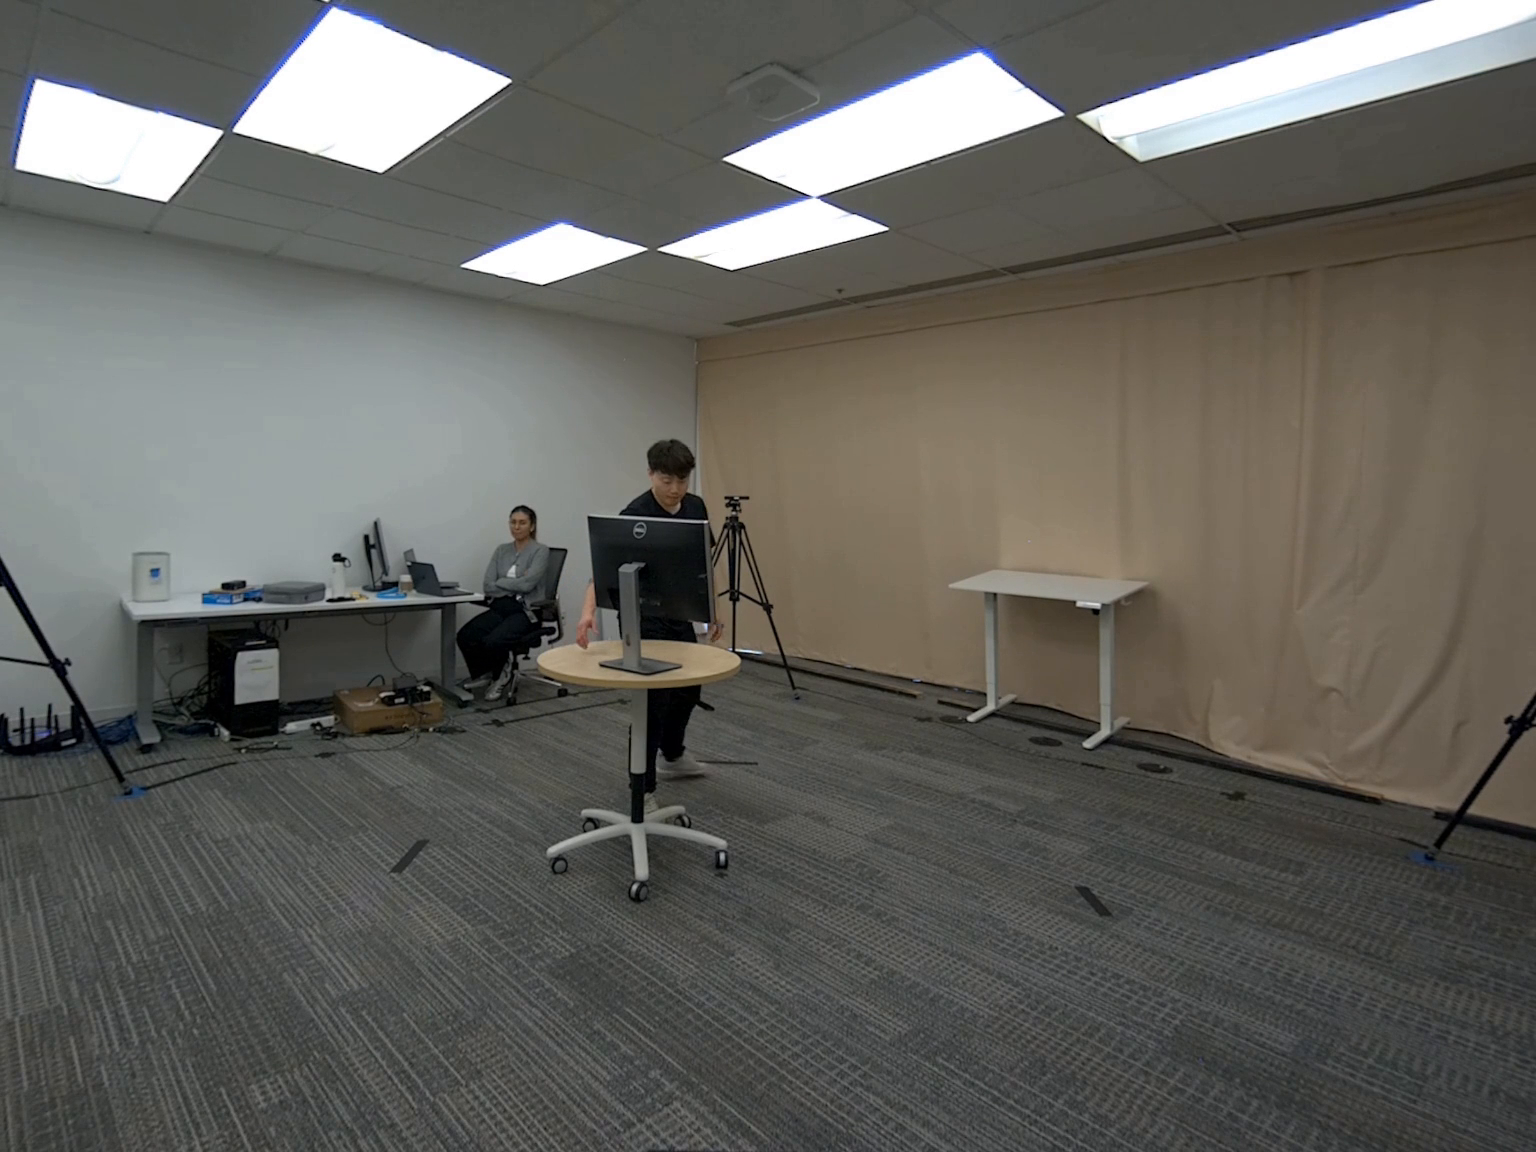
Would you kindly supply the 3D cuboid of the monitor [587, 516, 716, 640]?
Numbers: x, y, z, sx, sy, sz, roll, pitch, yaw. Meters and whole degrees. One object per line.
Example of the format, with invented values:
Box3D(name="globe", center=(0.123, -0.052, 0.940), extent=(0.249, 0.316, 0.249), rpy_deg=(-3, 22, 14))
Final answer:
Box3D(name="monitor", center=(-0.466, 0.067, 3.022), extent=(0.551, 0.522, 0.183), rpy_deg=(5, 2, 33))
